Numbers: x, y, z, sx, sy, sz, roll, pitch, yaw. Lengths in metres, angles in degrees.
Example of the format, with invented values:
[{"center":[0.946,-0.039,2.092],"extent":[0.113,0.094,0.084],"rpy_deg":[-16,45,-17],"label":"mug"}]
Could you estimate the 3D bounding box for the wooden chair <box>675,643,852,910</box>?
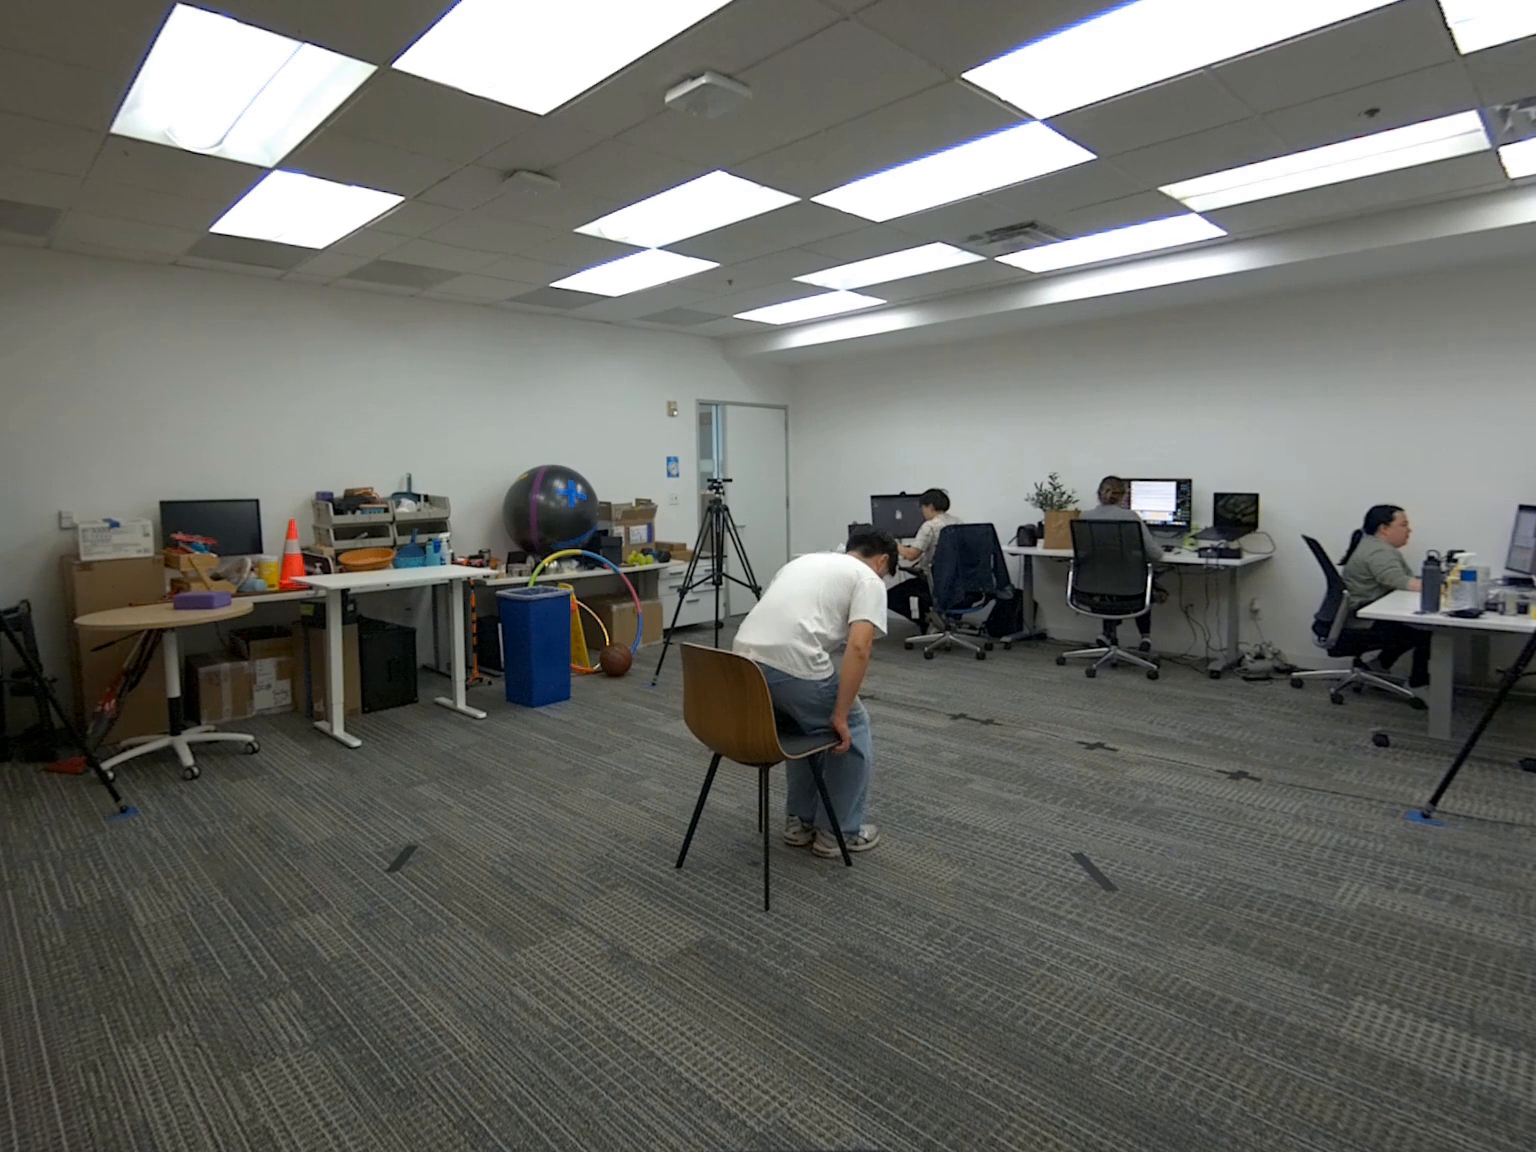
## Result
[{"center":[-0.018,0.628,3.045],"extent":[0.493,0.871,0.511],"rpy_deg":[4,10,45],"label":"wooden chair"}]
